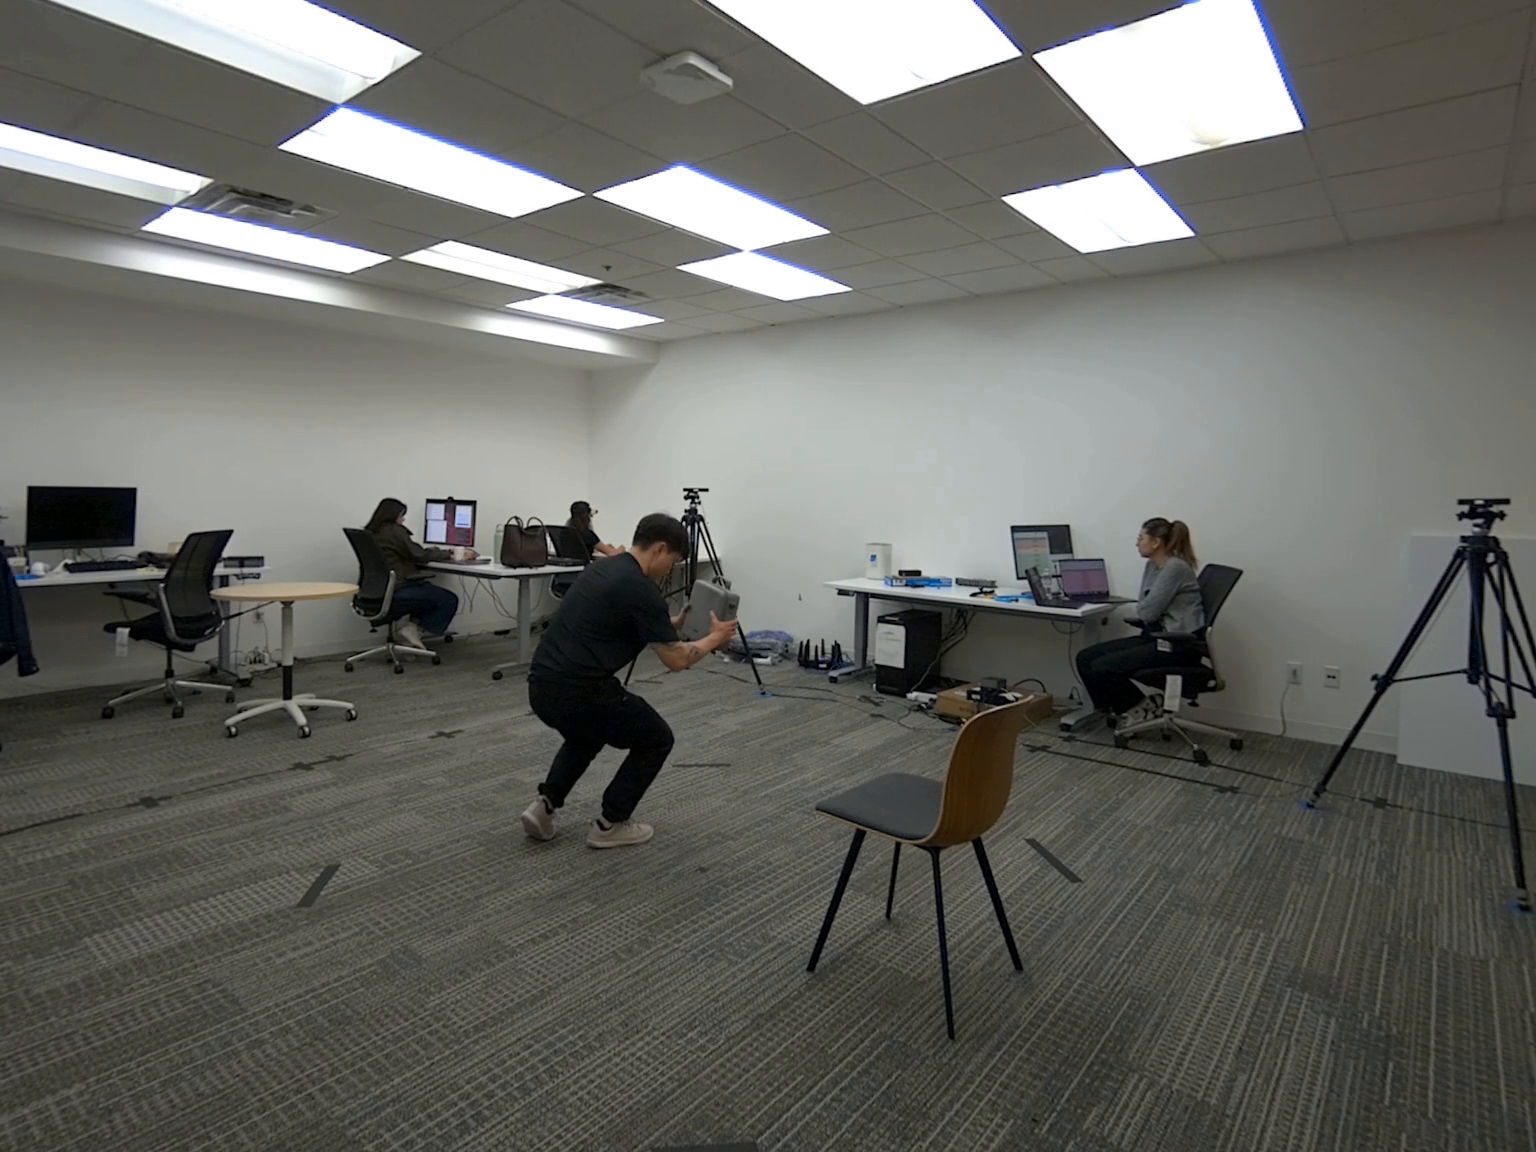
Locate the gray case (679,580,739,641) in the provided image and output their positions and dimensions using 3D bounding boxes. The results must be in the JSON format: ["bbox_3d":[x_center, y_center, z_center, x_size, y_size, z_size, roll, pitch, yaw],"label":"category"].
[{"bbox_3d":[-0.252,0.157,3.526,0.101,0.260,0.266,14,5,-33],"label":"gray case"}]
